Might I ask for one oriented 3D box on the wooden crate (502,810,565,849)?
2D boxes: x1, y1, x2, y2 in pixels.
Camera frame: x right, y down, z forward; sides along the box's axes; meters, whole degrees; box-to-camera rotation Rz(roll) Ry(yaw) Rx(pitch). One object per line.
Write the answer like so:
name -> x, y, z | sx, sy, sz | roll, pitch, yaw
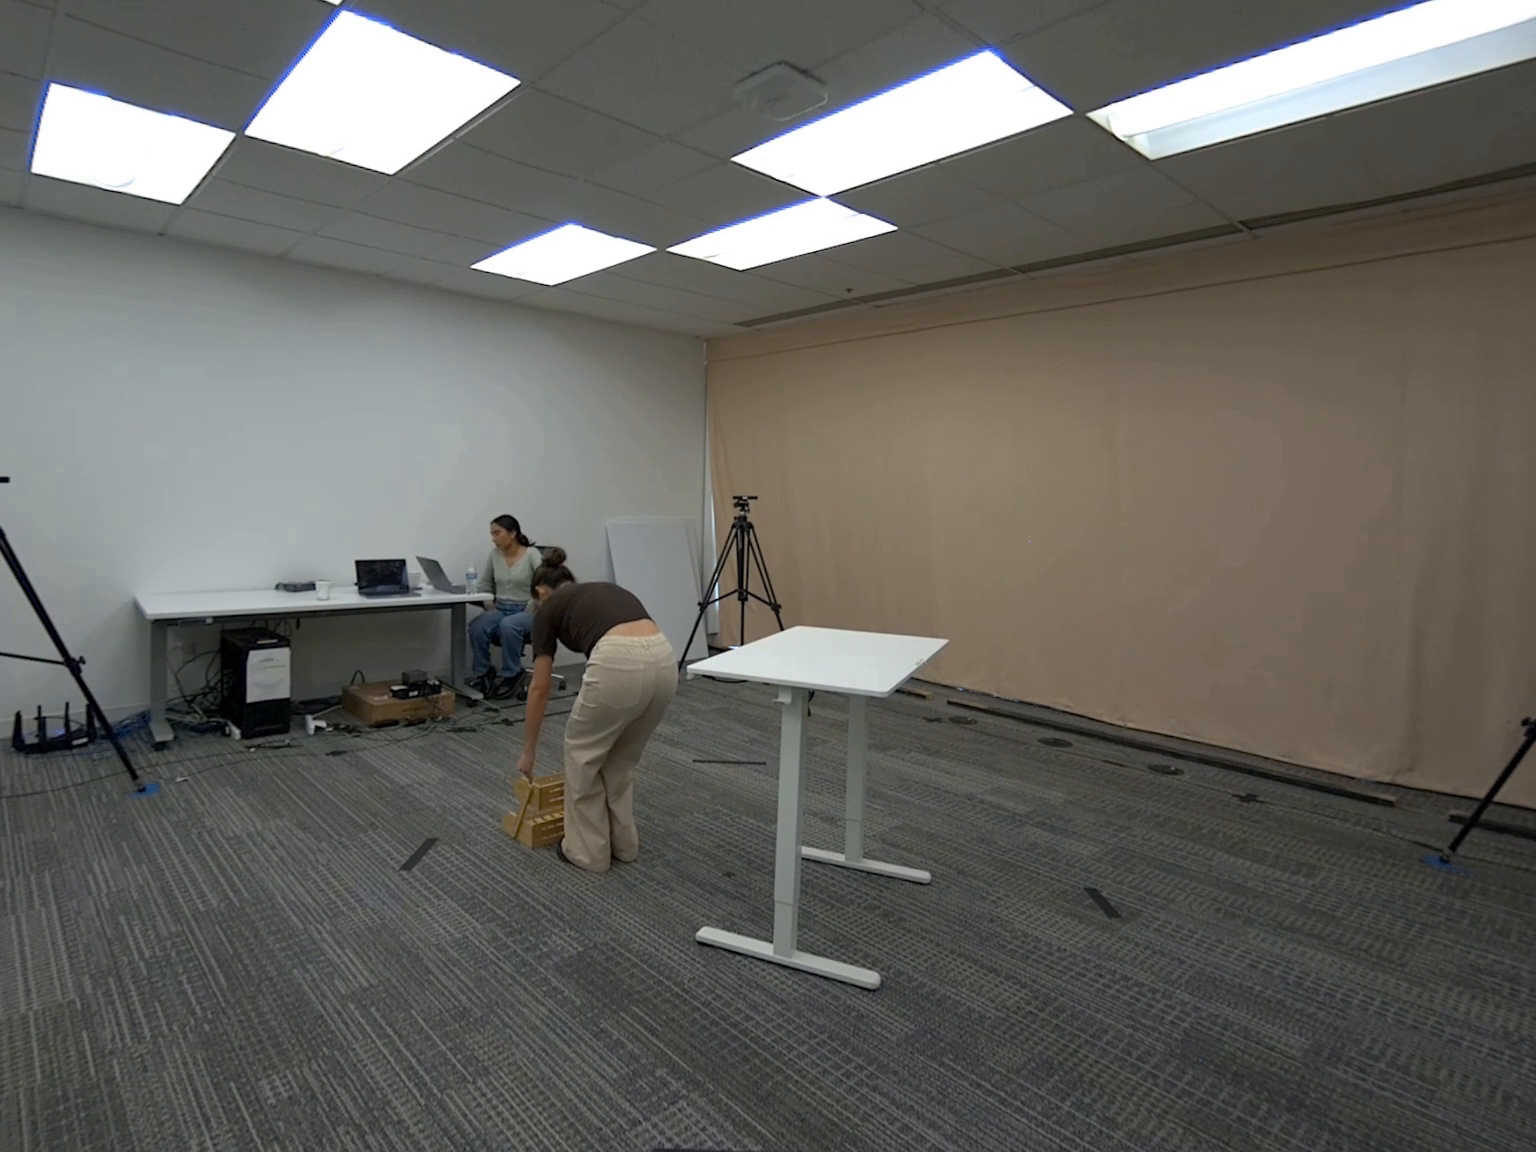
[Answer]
wooden crate -> -0.896, 0.925, 3.461 | 0.317, 0.272, 0.310 | -3, 7, -44
